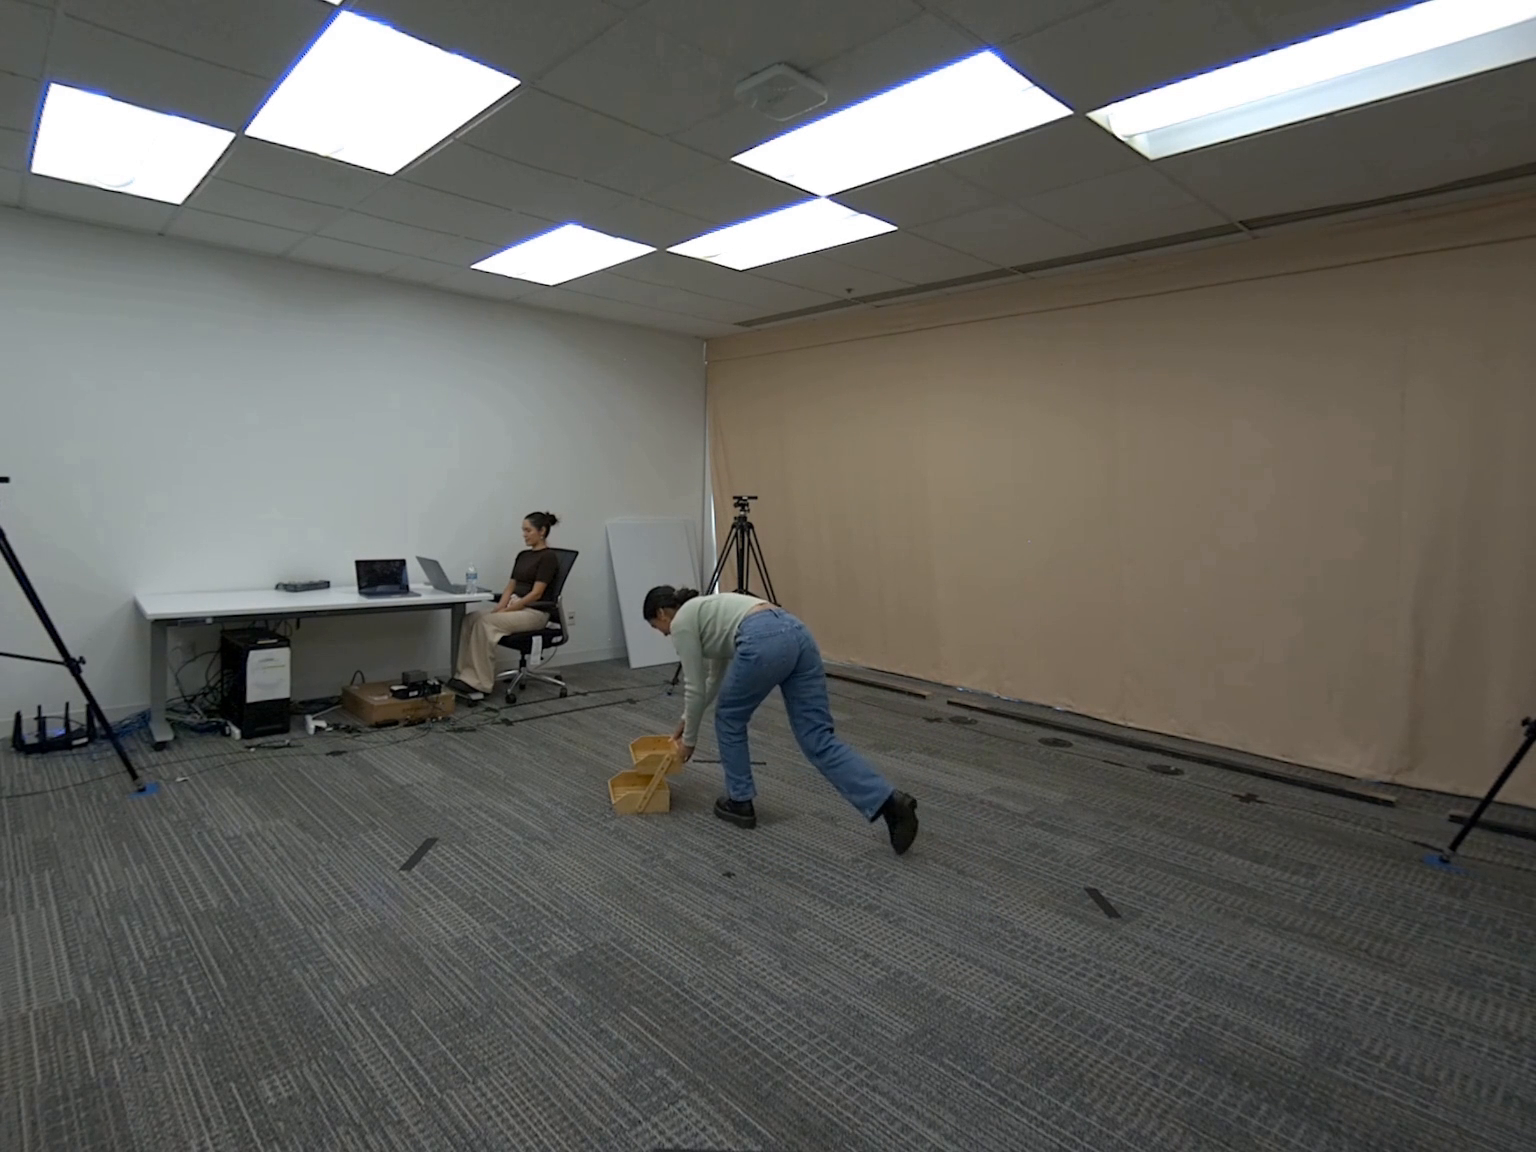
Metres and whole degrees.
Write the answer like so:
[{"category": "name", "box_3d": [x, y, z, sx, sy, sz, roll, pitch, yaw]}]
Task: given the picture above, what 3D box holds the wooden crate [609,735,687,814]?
[{"category": "wooden crate", "box_3d": [-0.578, 0.894, 3.847, 0.299, 0.272, 0.329, 1, 4, -13]}]
